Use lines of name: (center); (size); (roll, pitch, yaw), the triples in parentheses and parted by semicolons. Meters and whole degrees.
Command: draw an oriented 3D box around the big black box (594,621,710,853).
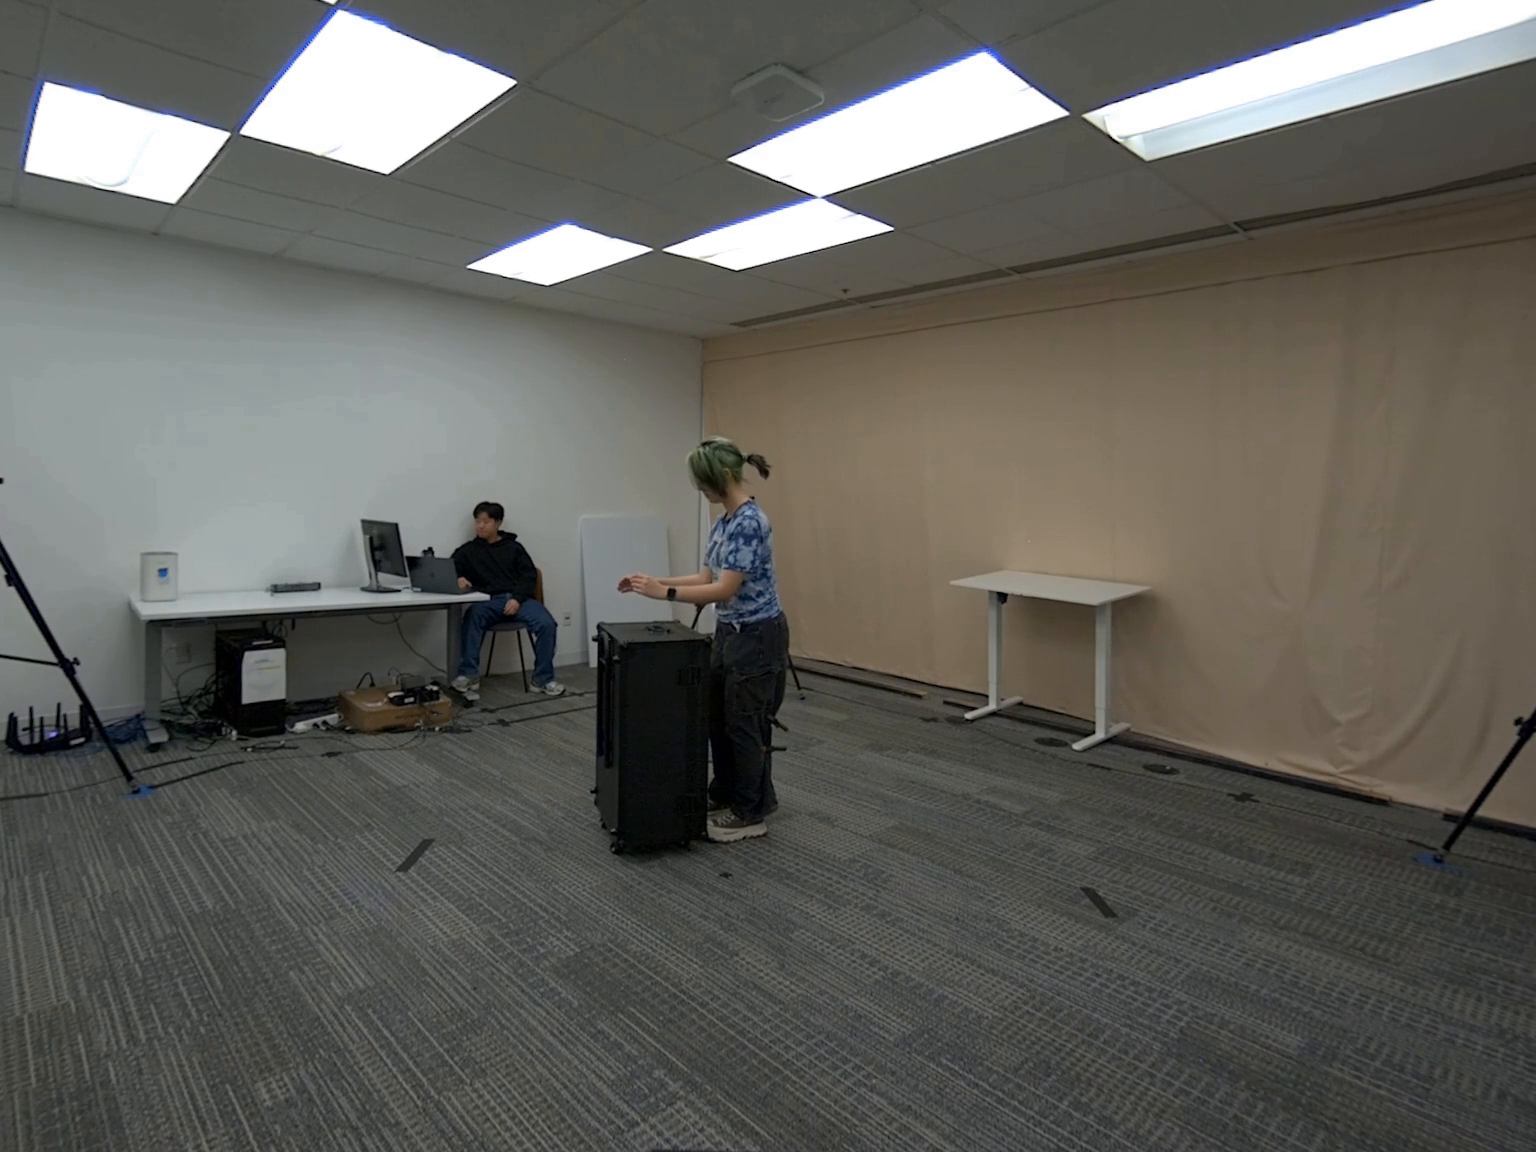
big black box: (-0.498, 0.583, 3.398); (0.390, 0.859, 0.531); (0, 4, -21)
